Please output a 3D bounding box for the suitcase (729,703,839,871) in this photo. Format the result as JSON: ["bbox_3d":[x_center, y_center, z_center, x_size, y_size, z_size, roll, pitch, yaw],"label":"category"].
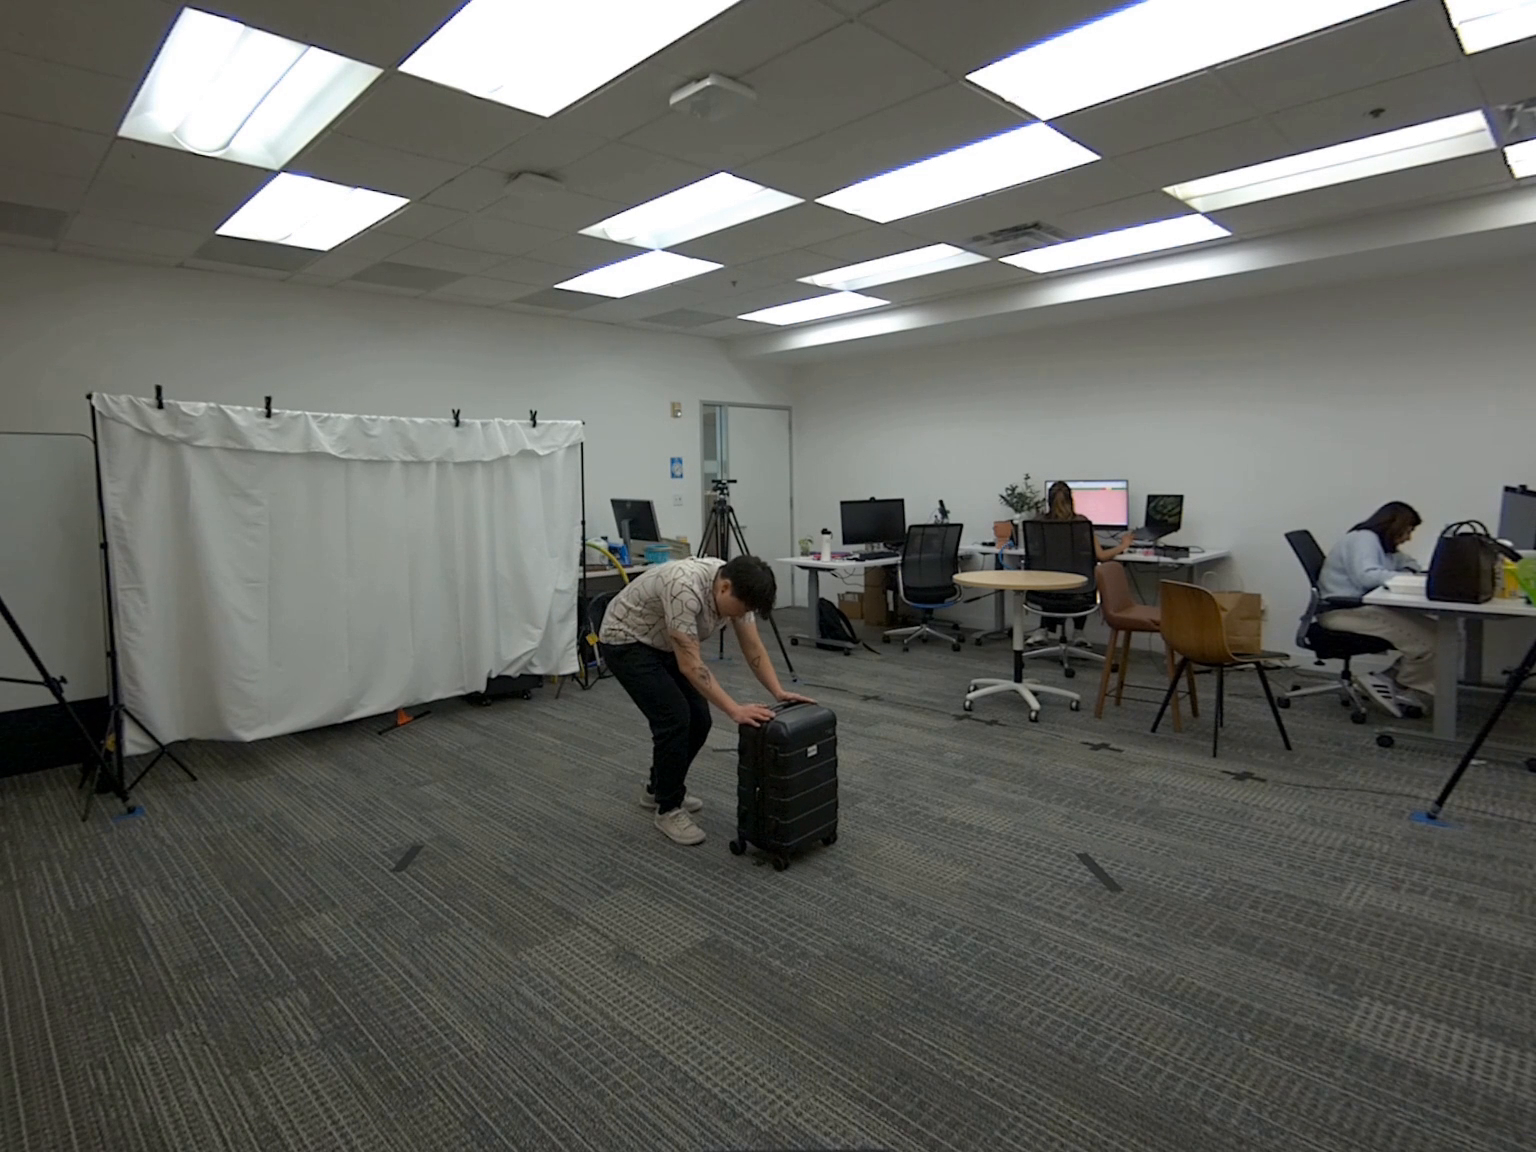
[{"bbox_3d":[0.075,0.761,3.211,0.256,0.547,0.366,5,8,41],"label":"suitcase"}]
